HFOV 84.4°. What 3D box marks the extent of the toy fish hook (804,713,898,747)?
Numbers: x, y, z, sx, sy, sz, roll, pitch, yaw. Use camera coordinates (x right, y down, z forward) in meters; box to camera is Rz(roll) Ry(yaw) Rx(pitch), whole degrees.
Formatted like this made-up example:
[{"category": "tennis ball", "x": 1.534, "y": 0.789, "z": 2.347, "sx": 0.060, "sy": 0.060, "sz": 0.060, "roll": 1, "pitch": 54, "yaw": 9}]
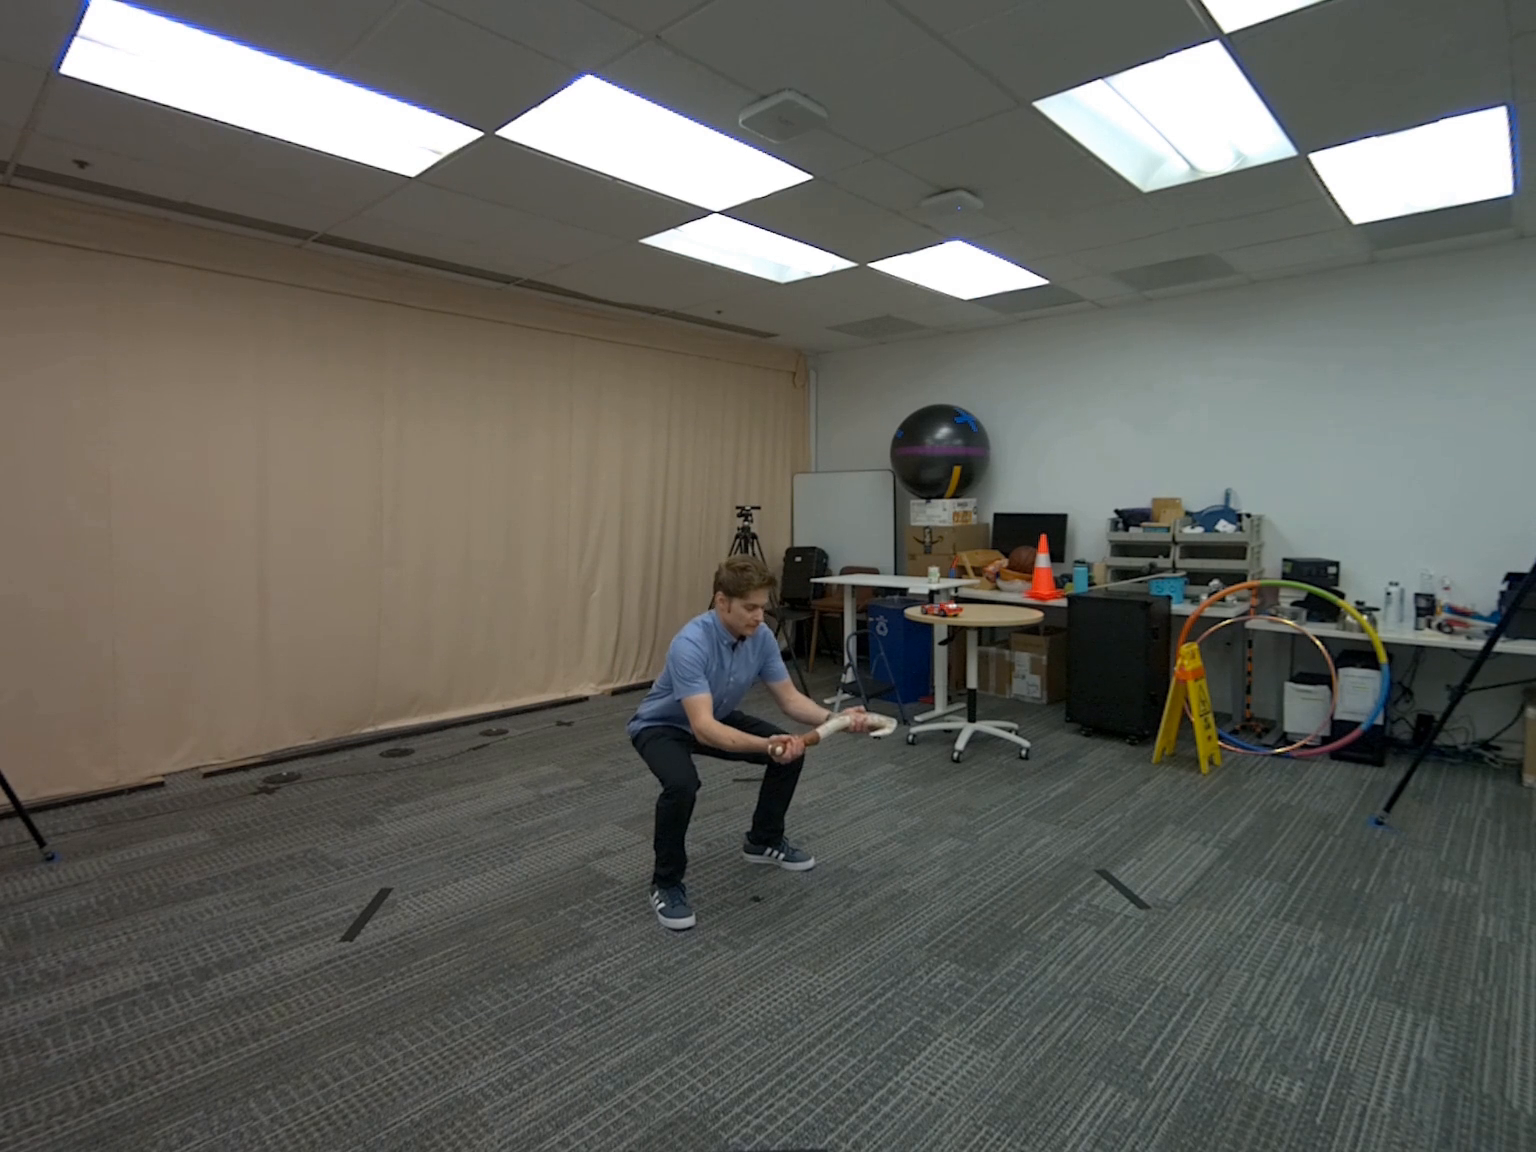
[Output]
[{"category": "toy fish hook", "x": 0.220, "y": 0.489, "z": 2.614, "sx": 0.231, "sy": 0.048, "sz": 0.492, "roll": -5, "pitch": 2, "yaw": 44}]
